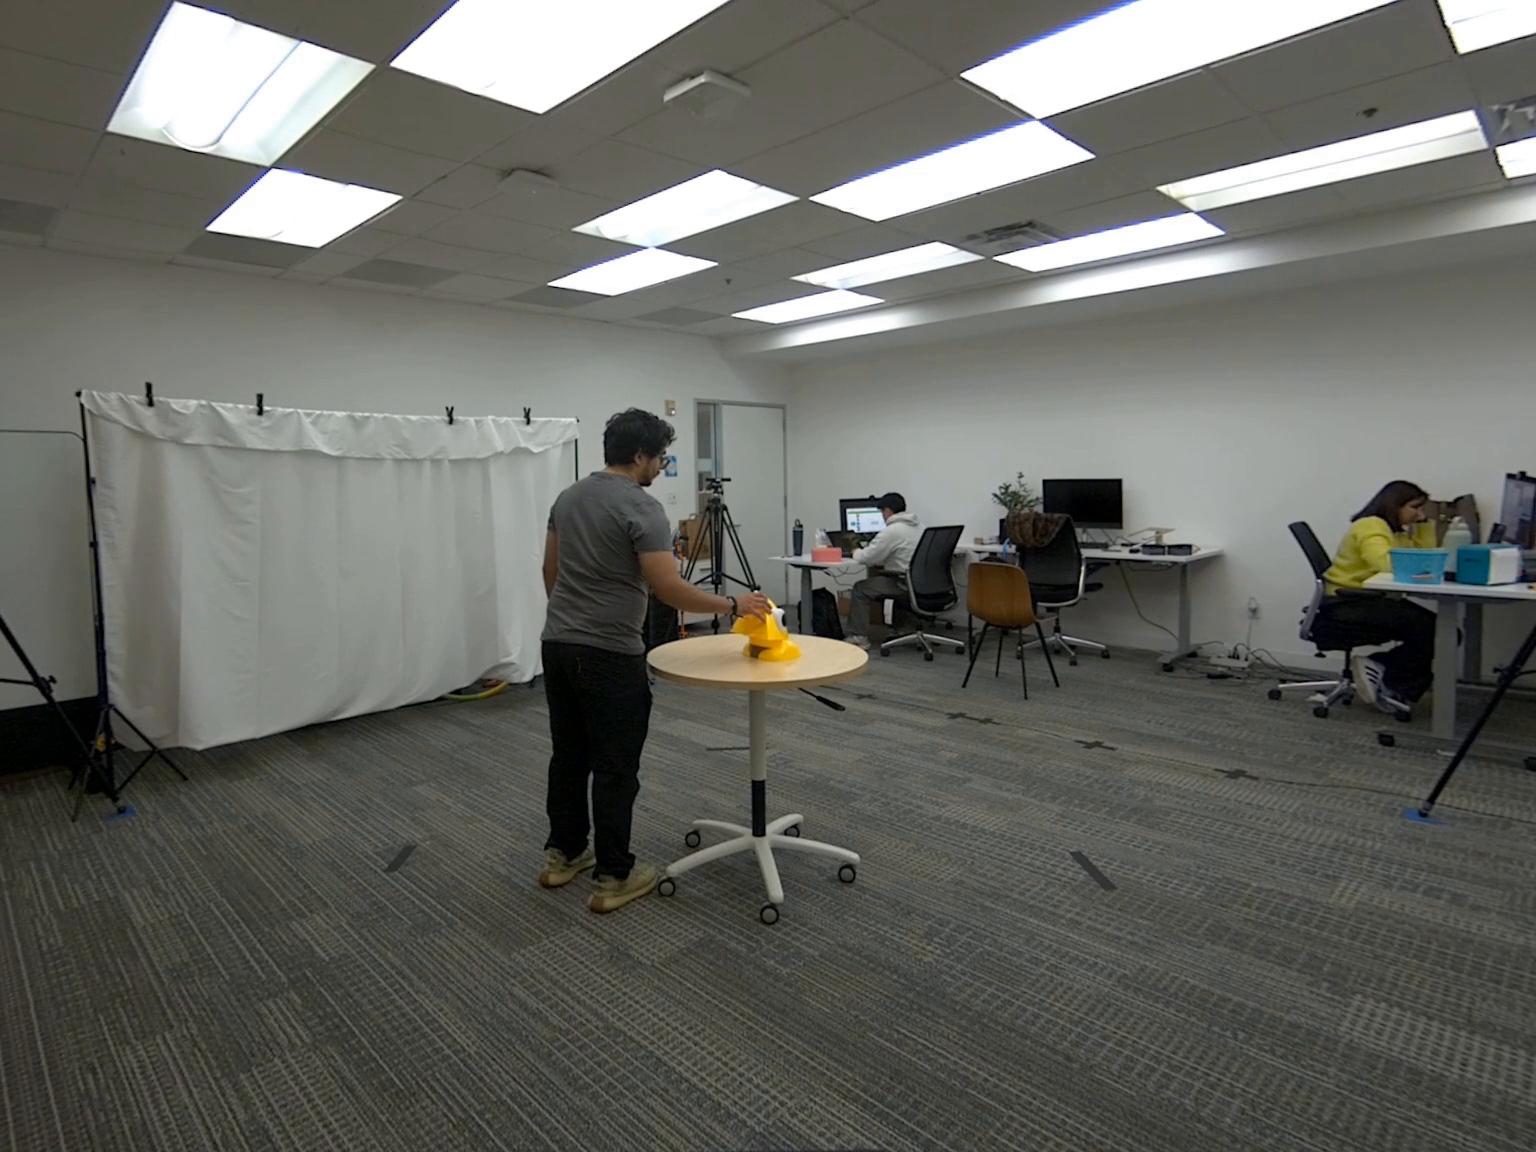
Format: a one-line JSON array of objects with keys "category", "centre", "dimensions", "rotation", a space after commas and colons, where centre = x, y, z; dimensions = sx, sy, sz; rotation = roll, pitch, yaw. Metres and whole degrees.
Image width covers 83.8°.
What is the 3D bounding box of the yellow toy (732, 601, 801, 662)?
[{"category": "yellow toy", "centre": [0.004, 0.159, 2.955], "dimensions": [0.188, 0.230, 0.211], "rotation": [-4, 6, -39]}]
